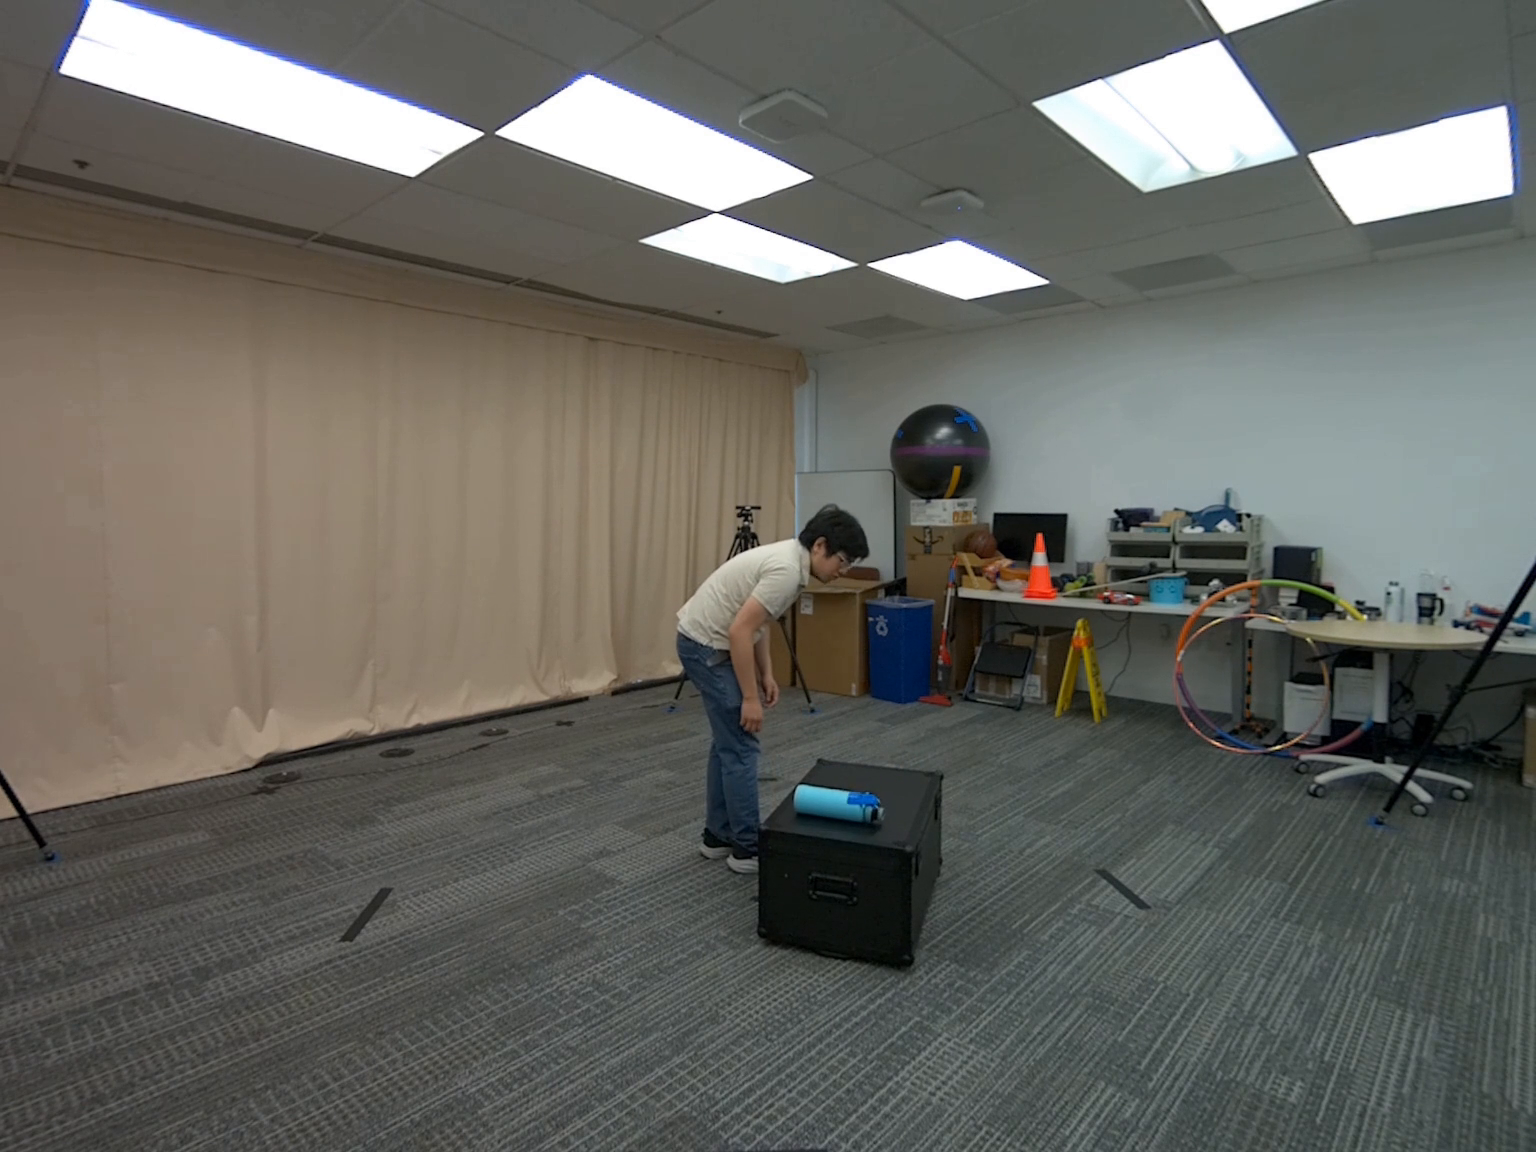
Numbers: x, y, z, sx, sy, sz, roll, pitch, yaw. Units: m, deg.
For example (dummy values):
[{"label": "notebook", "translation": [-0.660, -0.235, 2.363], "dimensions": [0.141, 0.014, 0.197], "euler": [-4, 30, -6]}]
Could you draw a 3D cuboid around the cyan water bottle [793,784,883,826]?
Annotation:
[{"label": "cyan water bottle", "translation": [0.236, 0.742, 2.734], "dimensions": [0.290, 0.092, 0.090], "euler": [5, 5, 21]}]
